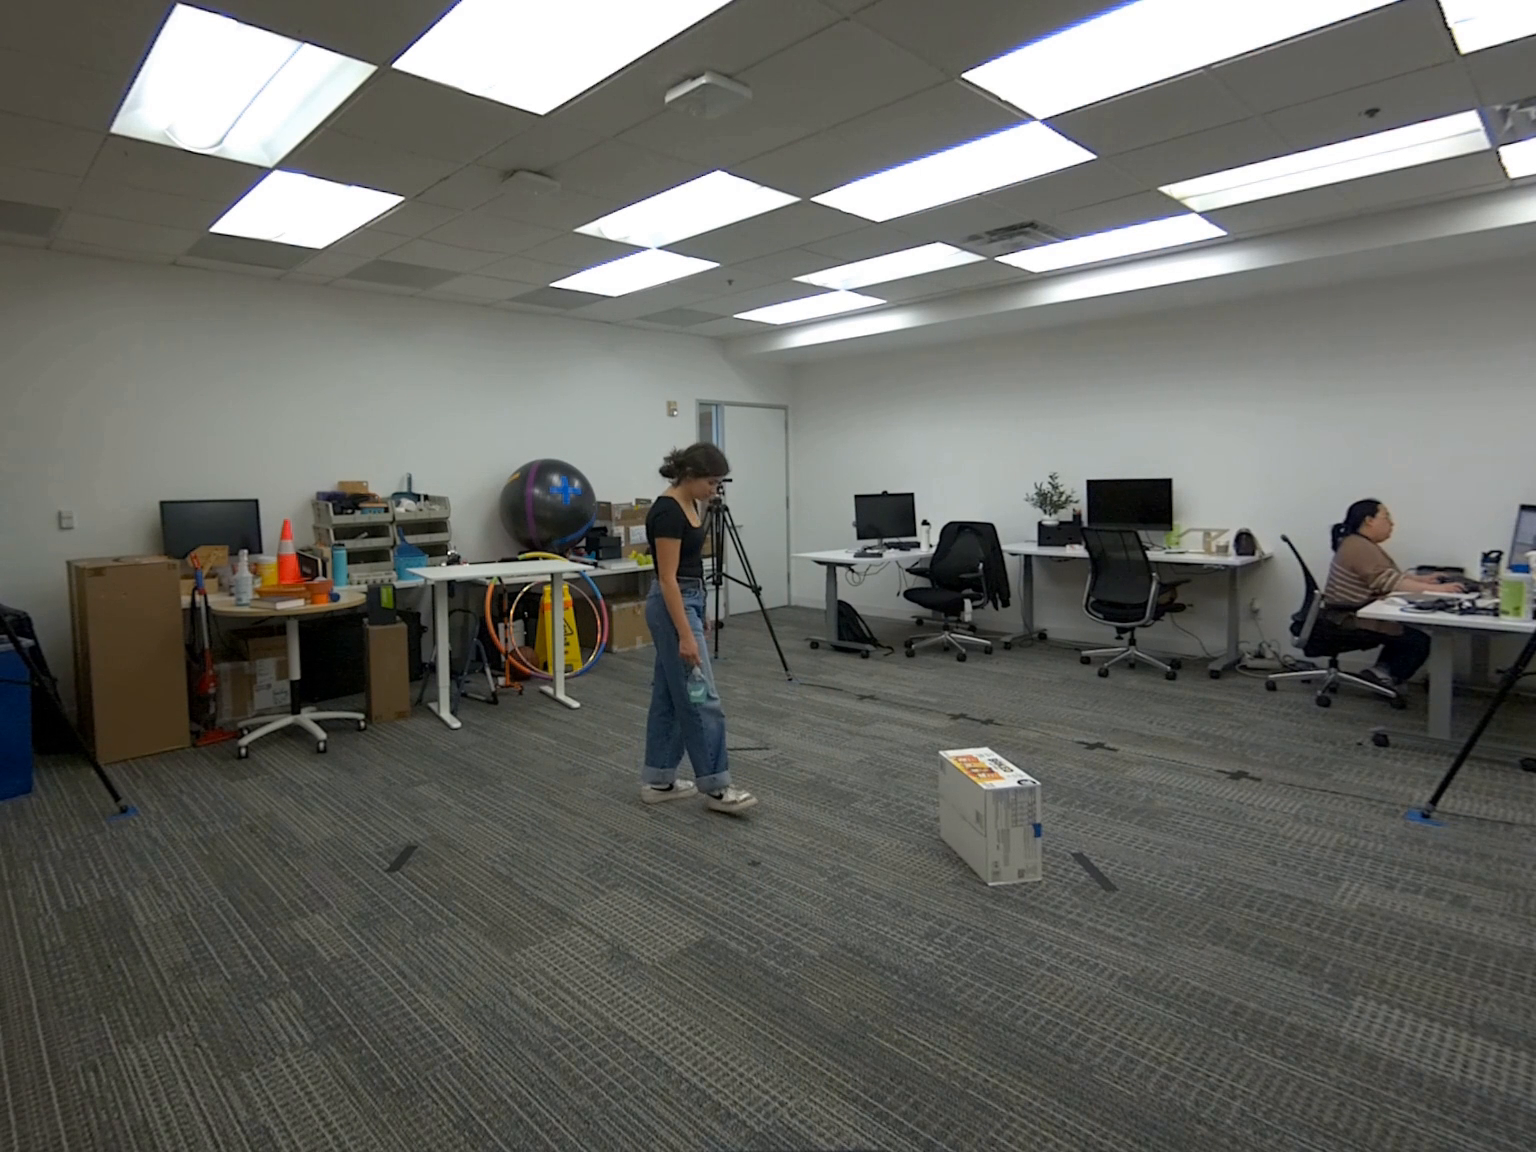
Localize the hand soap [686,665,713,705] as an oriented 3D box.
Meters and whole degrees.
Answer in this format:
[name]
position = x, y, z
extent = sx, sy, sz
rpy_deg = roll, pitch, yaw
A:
[hand soap]
position = -0.293, 0.431, 3.478
extent = 0.085, 0.167, 0.043
rpy_deg = 1, 4, 12
